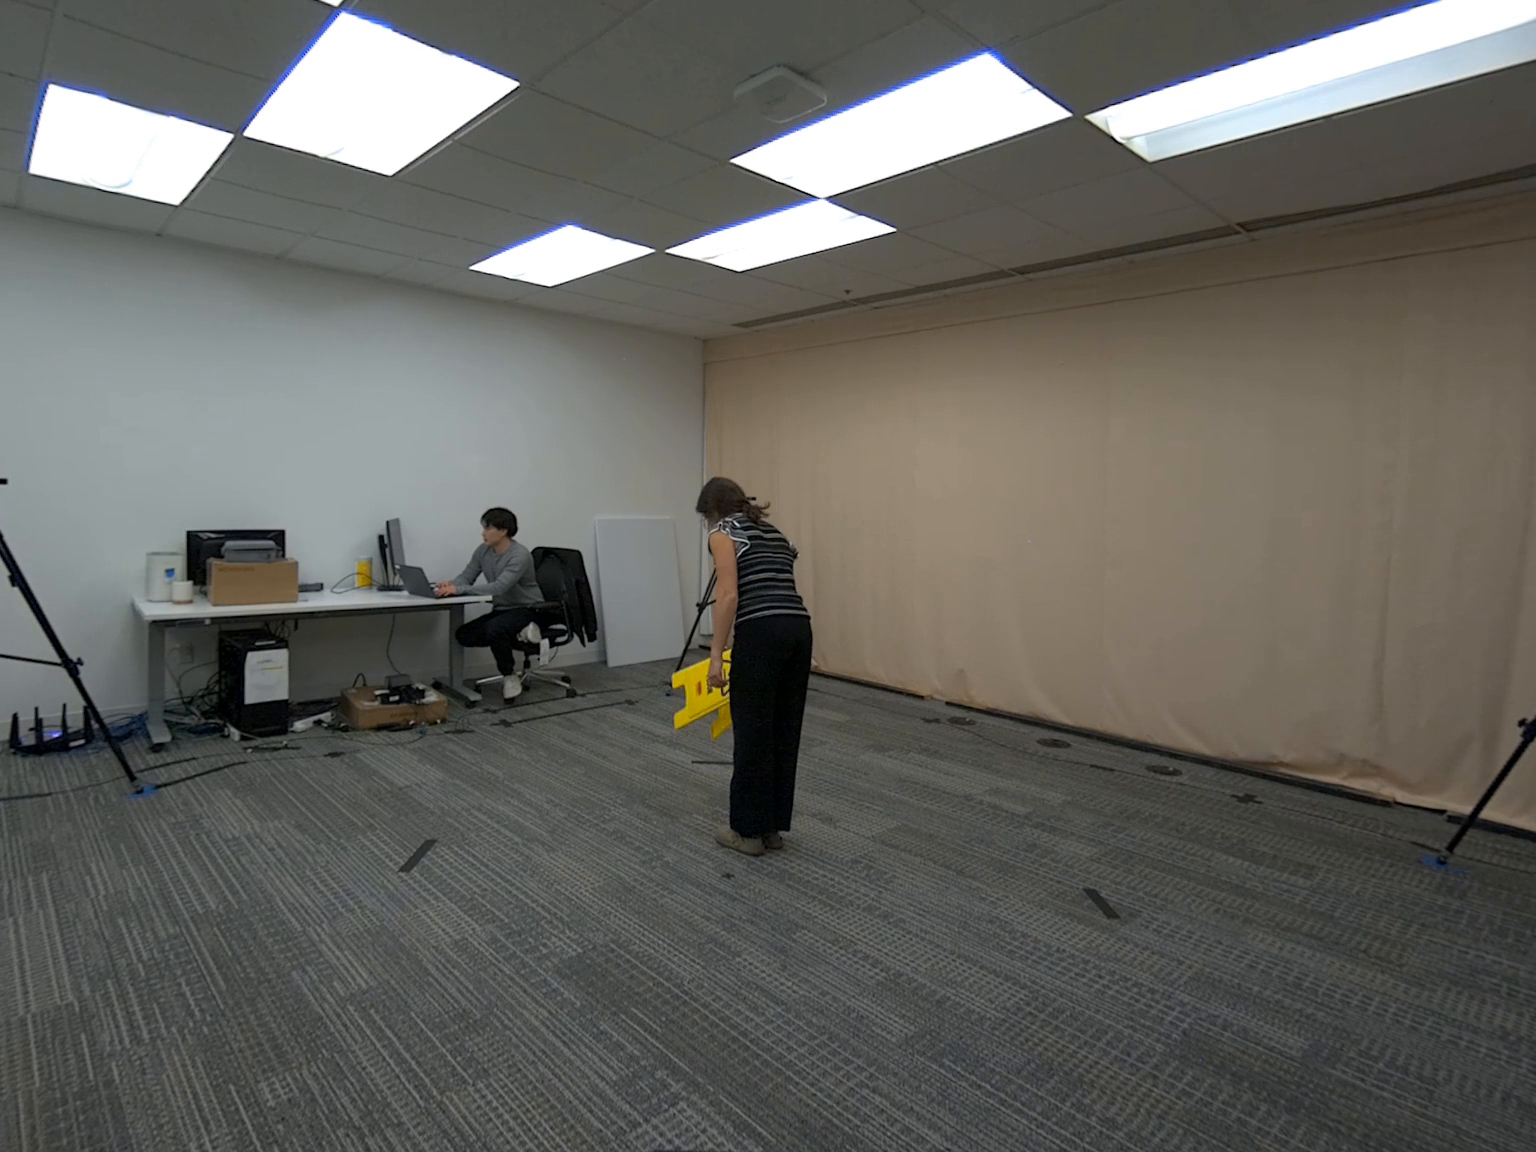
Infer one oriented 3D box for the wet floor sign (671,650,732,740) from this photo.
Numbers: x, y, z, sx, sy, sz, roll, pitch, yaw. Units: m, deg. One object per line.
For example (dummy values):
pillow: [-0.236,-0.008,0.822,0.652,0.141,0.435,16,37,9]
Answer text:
wet floor sign: [-0.128,0.464,3.725,0.281,0.289,0.650,26,-47,-37]
